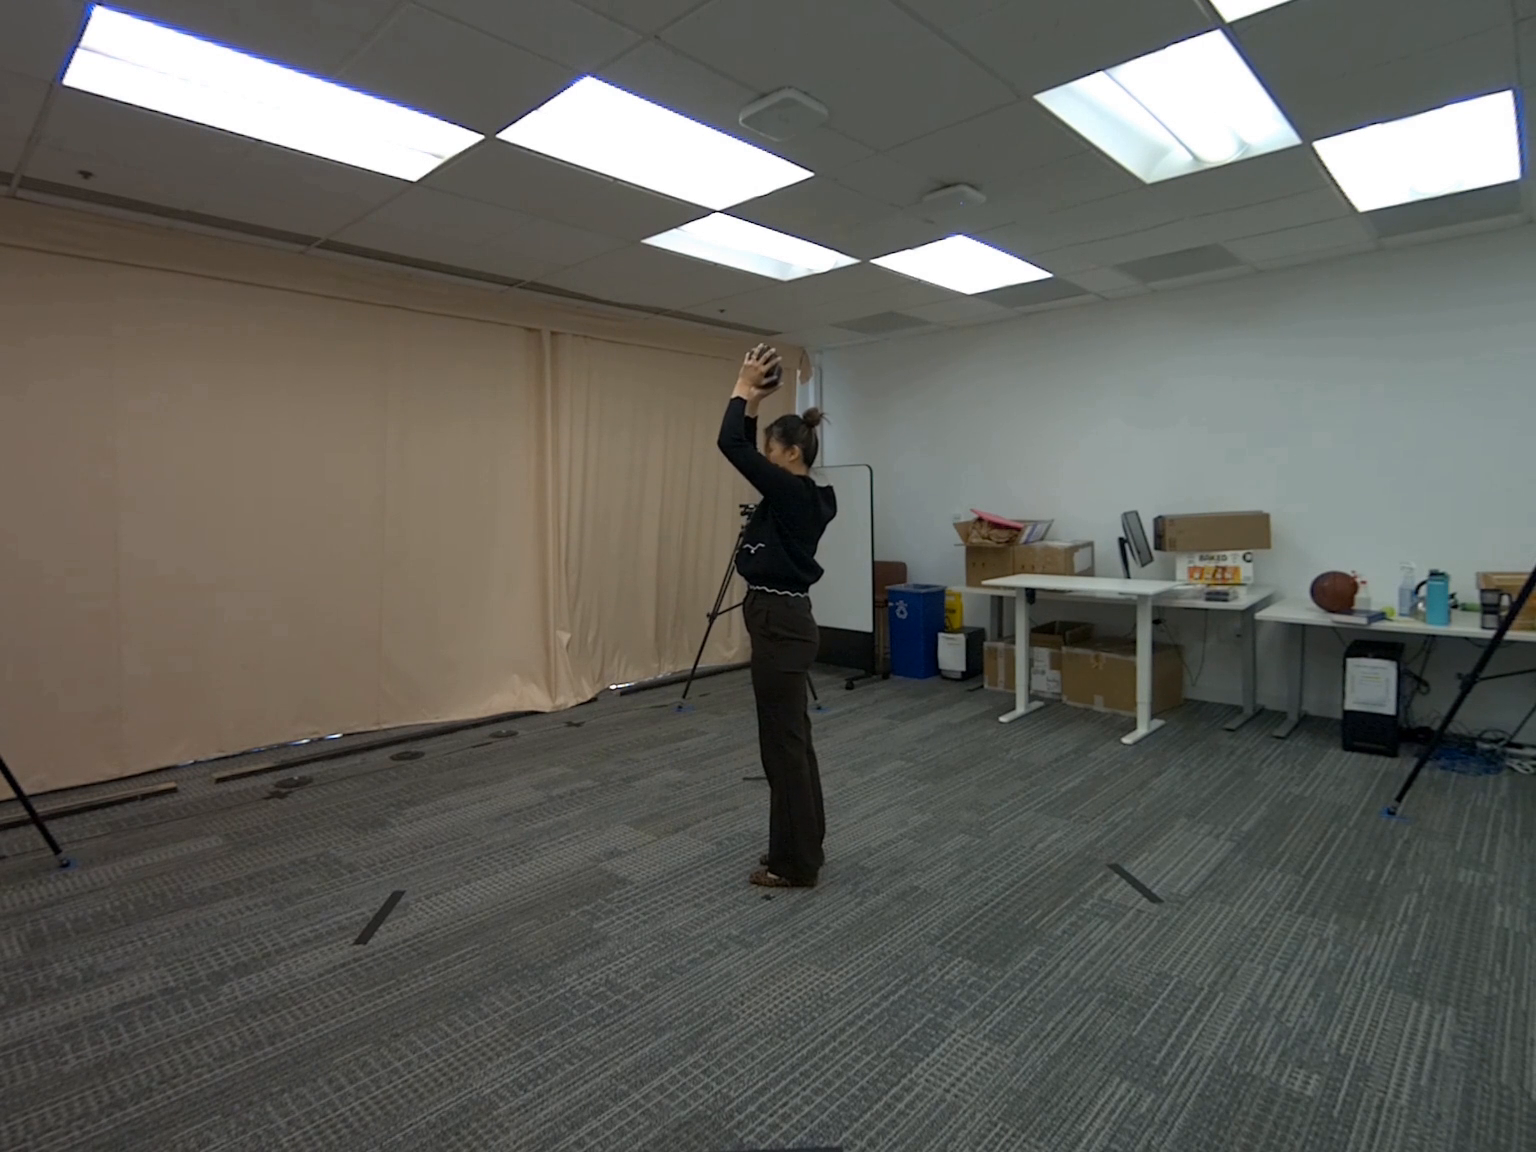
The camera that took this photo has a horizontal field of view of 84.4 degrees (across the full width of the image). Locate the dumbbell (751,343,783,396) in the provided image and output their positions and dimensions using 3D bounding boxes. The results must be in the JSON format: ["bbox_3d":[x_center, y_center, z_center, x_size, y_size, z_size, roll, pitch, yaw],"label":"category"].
[{"bbox_3d":[-0.019,-0.762,3.120,0.124,0.109,0.291,-16,1,8],"label":"dumbbell"}]
